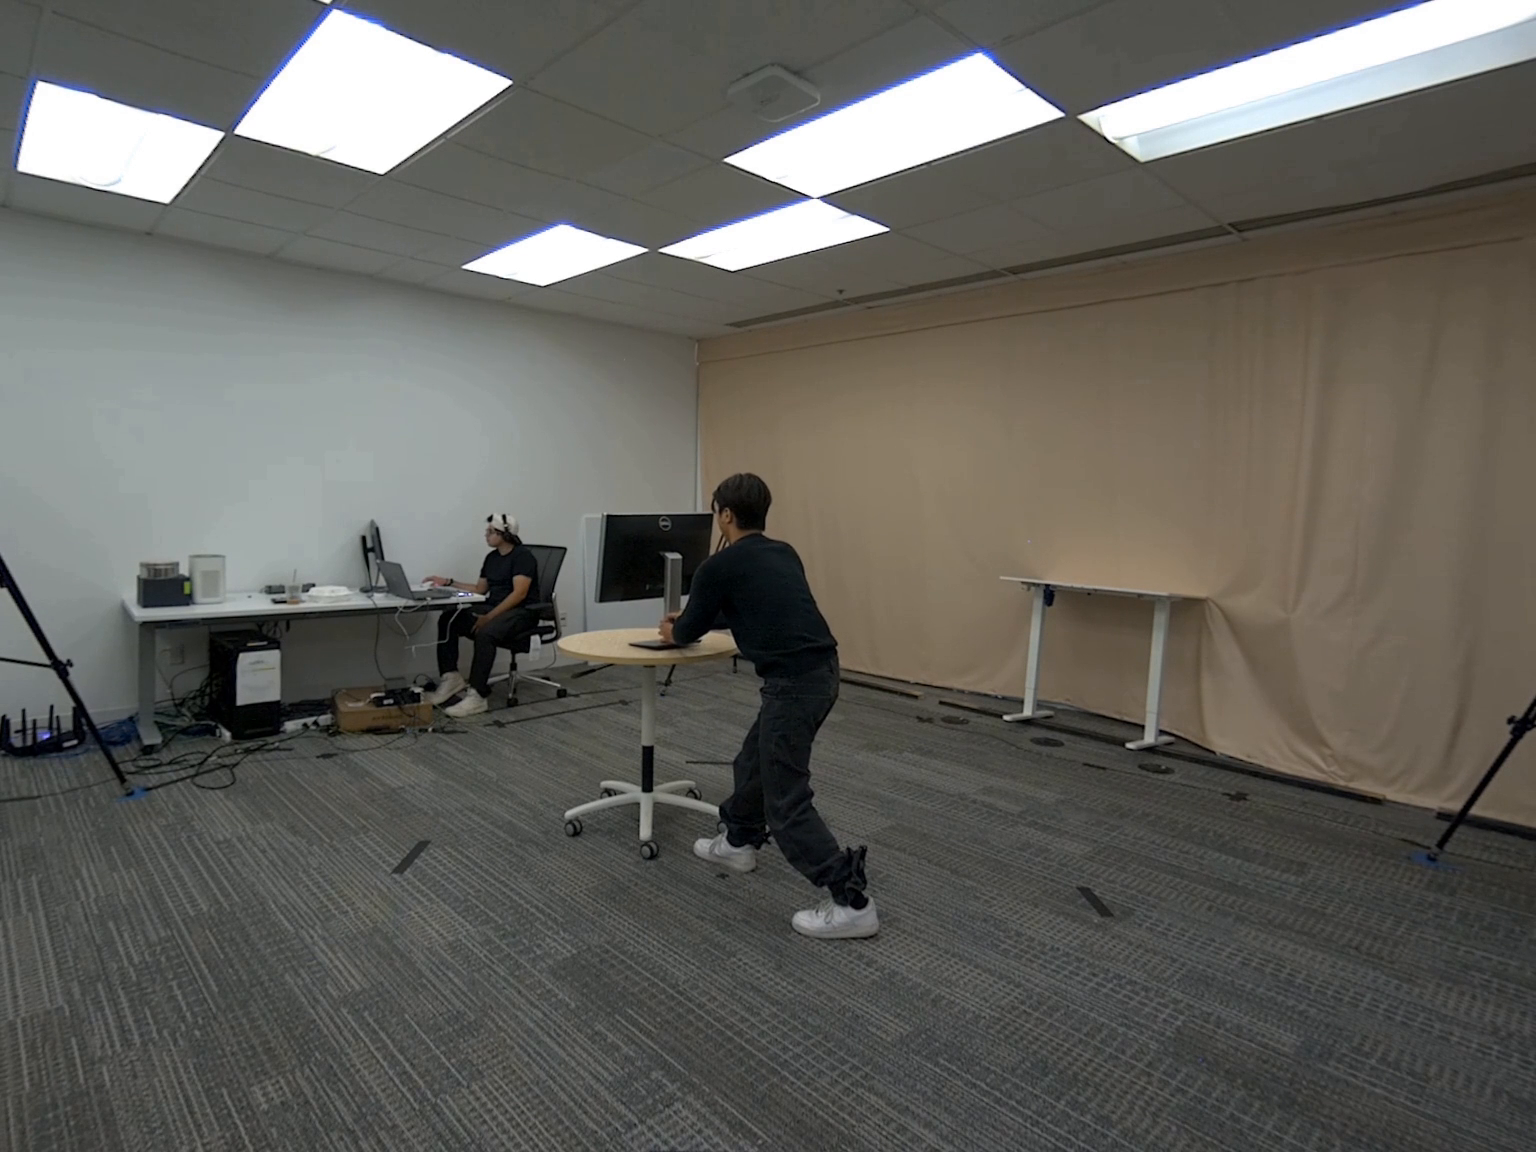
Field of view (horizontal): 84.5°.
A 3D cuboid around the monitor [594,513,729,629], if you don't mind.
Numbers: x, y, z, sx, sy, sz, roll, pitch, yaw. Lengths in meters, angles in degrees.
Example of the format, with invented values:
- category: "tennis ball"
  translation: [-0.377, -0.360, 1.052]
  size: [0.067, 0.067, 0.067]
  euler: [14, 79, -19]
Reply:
- category: "monitor"
  translation: [-0.444, 0.011, 3.463]
  size: [0.527, 0.522, 0.191]
  euler: [-3, 2, -44]
